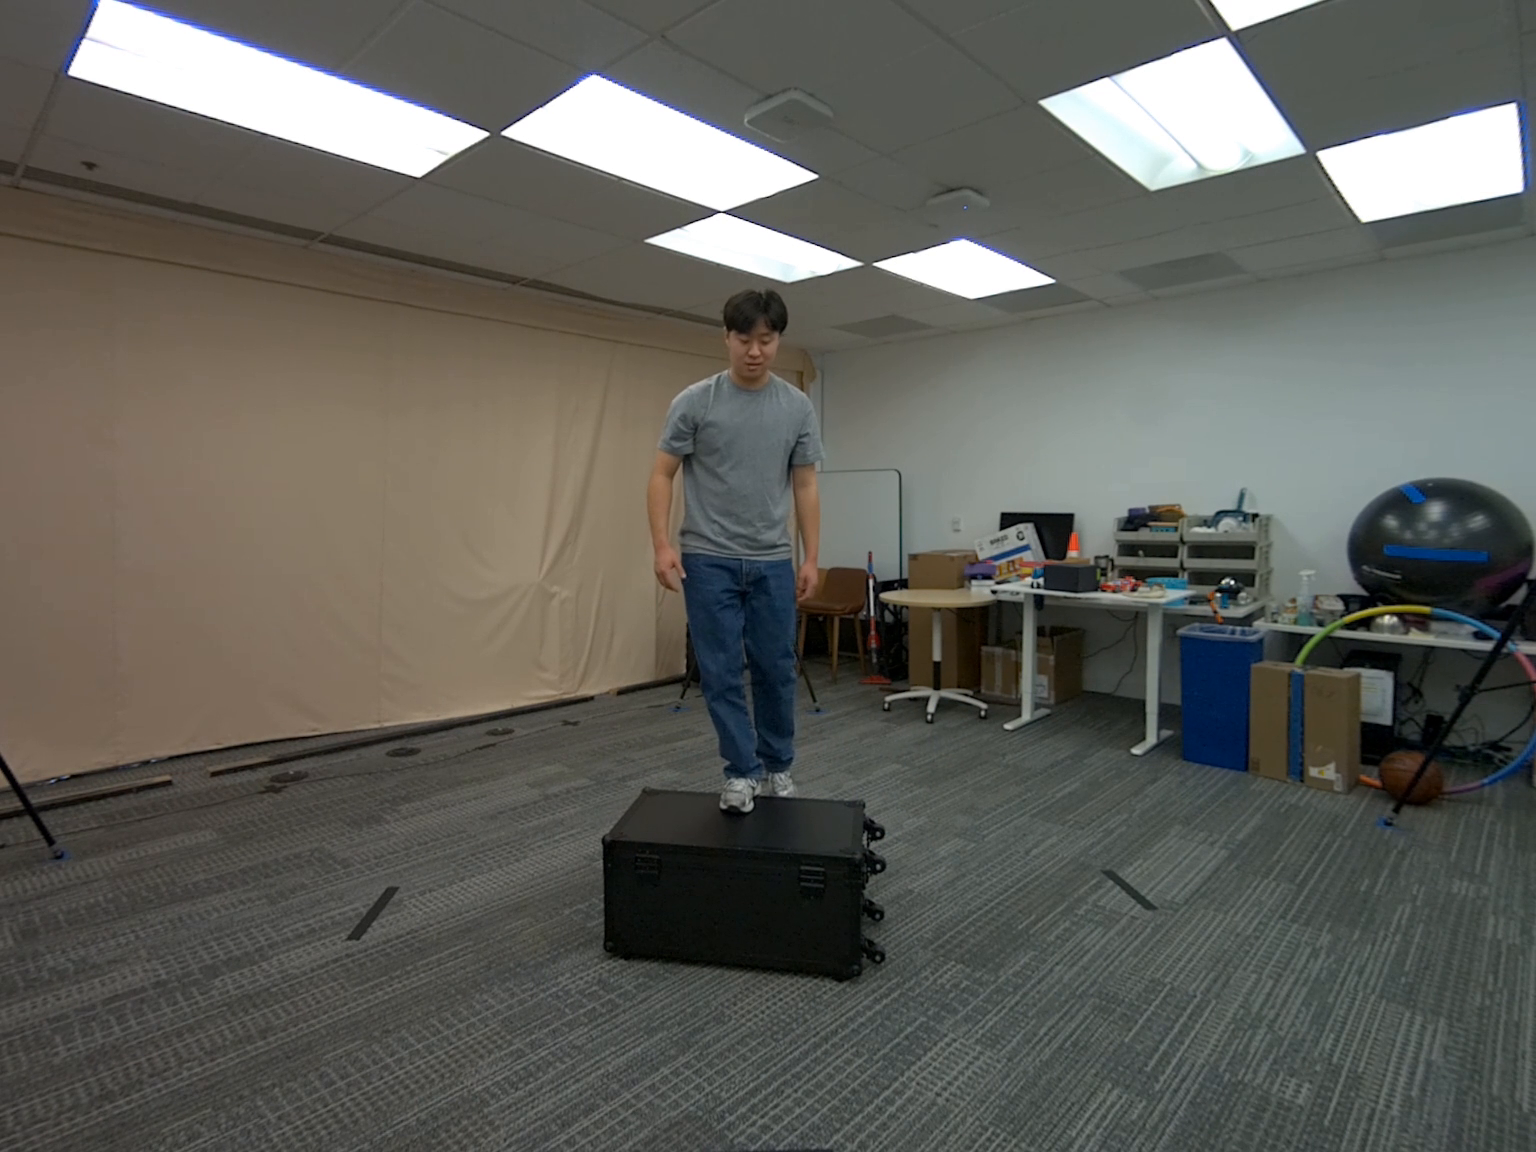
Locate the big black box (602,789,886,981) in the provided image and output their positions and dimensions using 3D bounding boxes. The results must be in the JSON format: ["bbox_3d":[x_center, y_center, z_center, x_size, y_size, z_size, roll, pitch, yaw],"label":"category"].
[{"bbox_3d":[-0.053,0.973,2.731,0.871,0.395,0.516,0,3,10],"label":"big black box"}]
